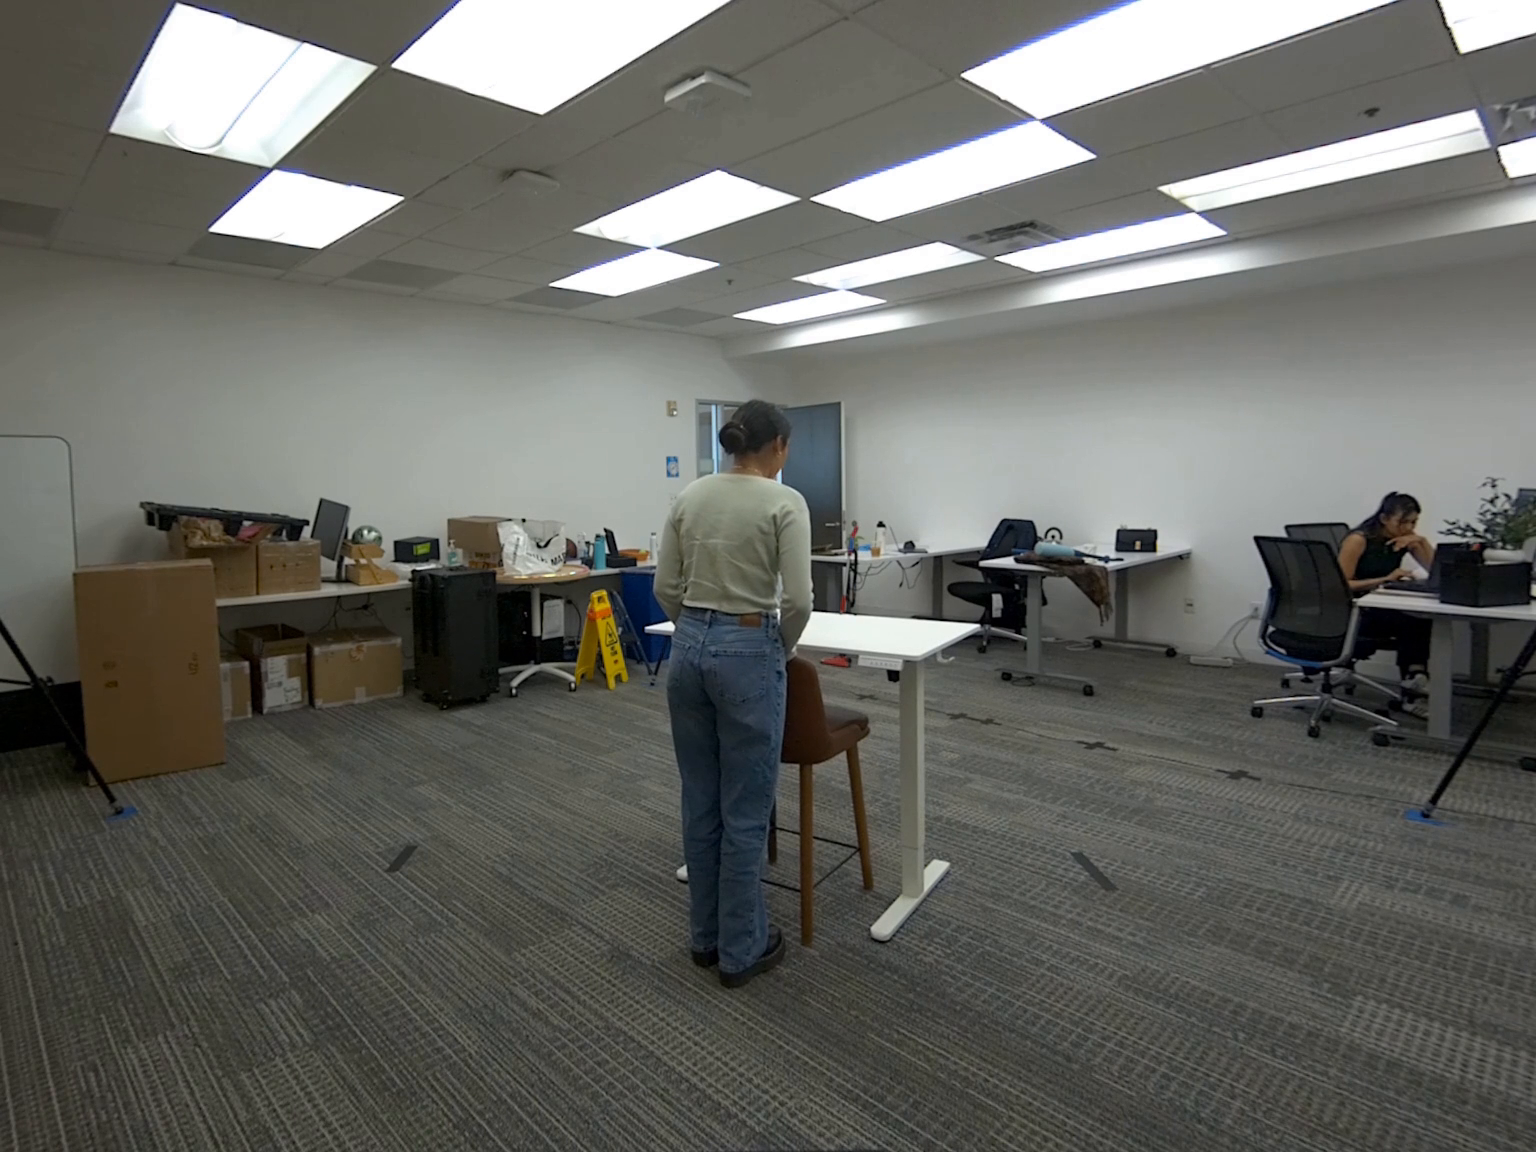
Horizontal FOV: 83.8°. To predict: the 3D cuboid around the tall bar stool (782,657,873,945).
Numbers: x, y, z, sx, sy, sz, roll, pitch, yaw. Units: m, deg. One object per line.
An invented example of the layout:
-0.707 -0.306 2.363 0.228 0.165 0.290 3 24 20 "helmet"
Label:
0.068 0.643 2.795 0.469 0.885 0.458 2 7 31 "tall bar stool"
